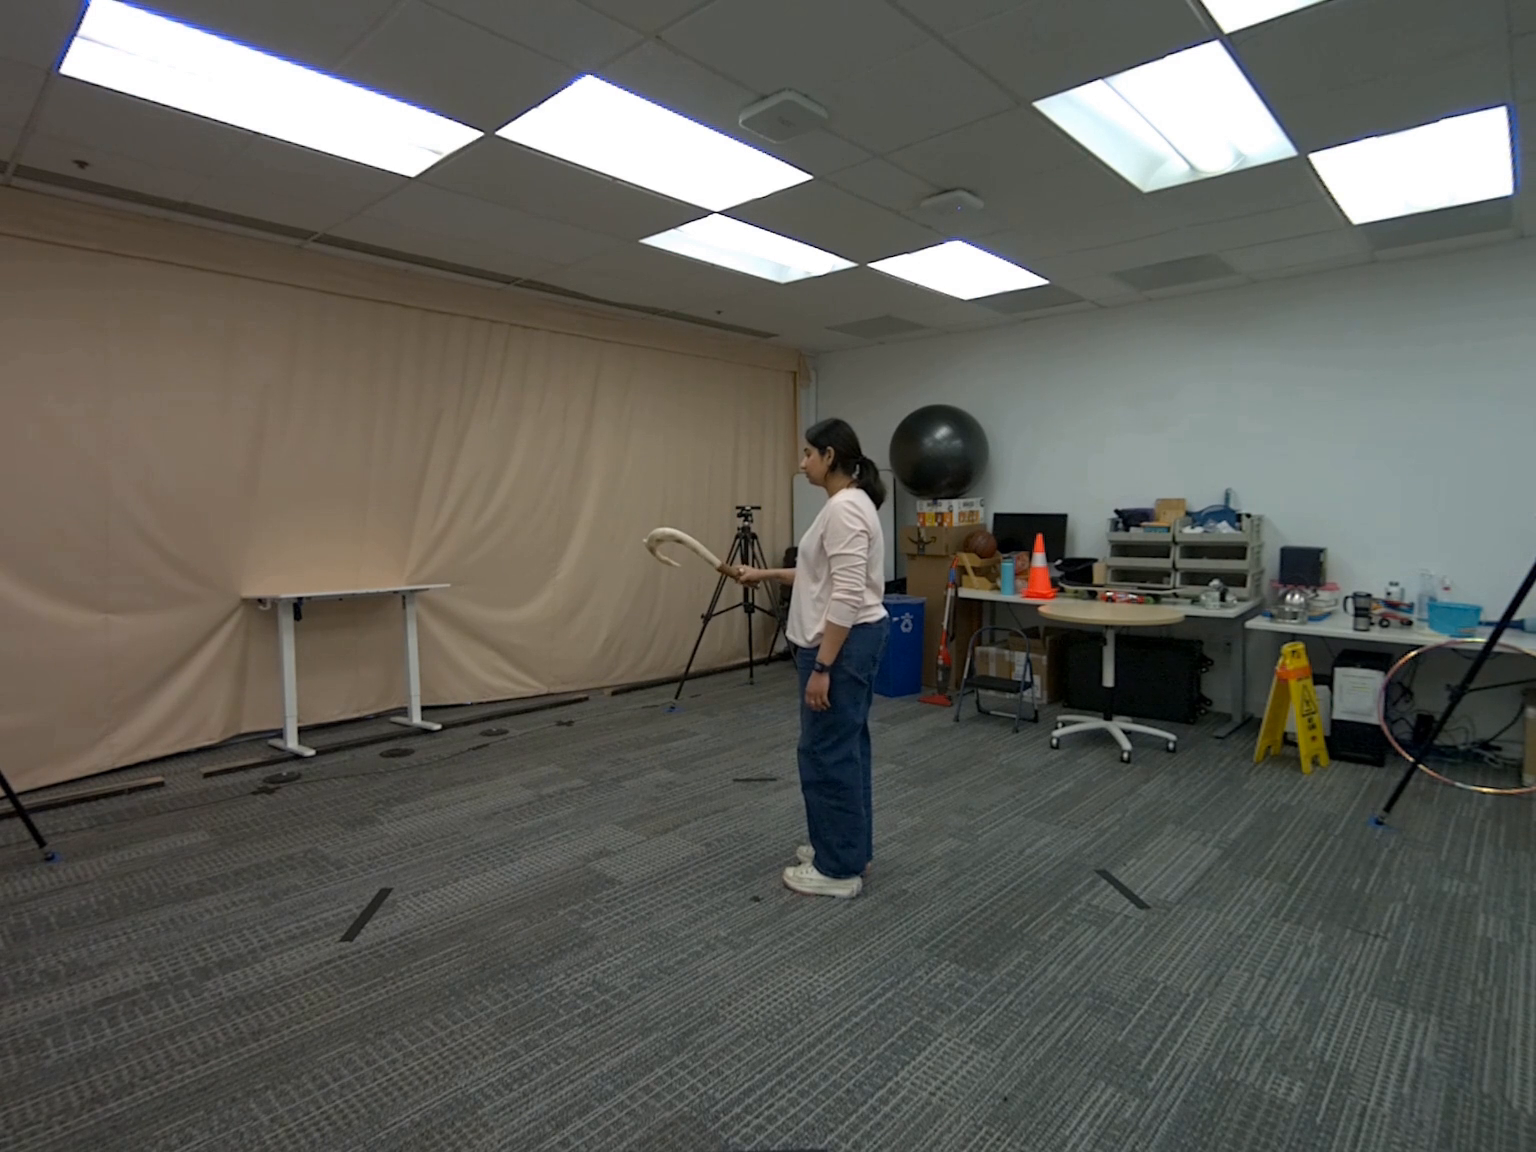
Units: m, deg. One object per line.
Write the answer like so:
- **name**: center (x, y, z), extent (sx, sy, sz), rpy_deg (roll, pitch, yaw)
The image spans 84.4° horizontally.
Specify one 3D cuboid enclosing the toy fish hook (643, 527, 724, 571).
- **toy fish hook**: center (-0.270, -0.057, 3.406), extent (0.497, 0.049, 0.227), rpy_deg (30, -38, -16)
